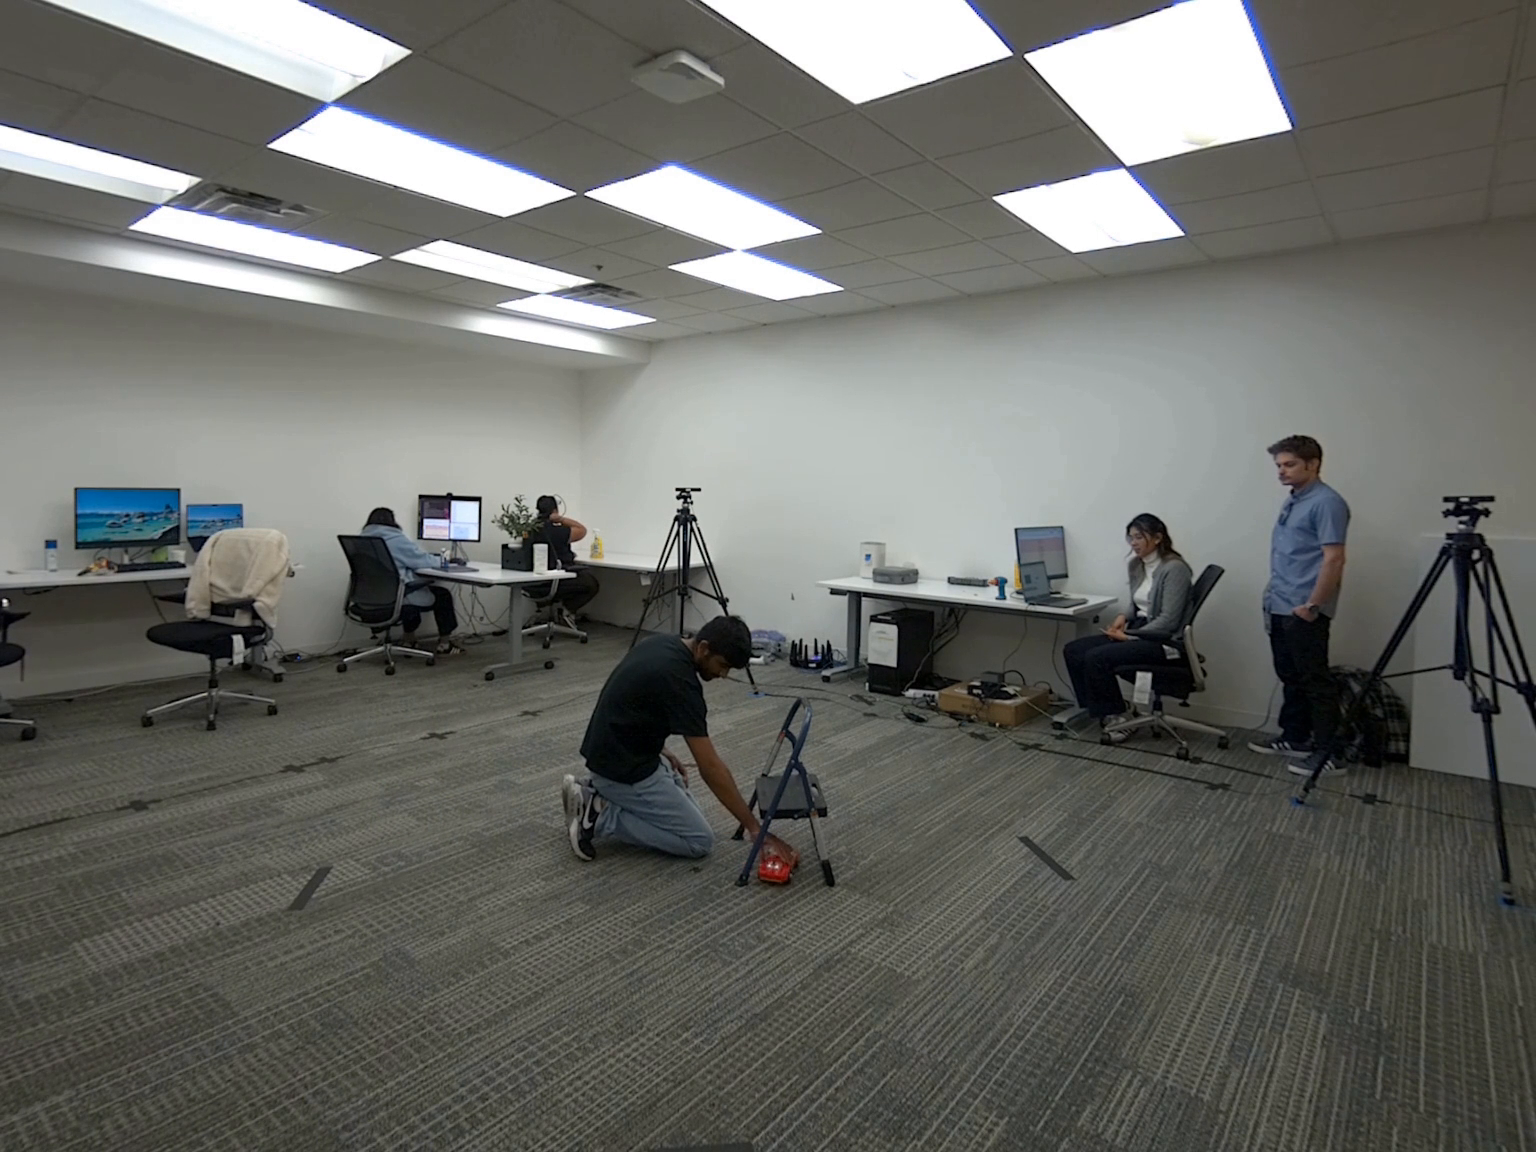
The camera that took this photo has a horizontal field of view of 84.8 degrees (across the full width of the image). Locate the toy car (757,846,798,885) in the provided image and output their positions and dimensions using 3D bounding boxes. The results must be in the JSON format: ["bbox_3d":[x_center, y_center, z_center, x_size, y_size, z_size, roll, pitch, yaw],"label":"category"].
[{"bbox_3d":[0.030,1.046,3.067,0.132,0.084,0.249,1,-5,15],"label":"toy car"}]
